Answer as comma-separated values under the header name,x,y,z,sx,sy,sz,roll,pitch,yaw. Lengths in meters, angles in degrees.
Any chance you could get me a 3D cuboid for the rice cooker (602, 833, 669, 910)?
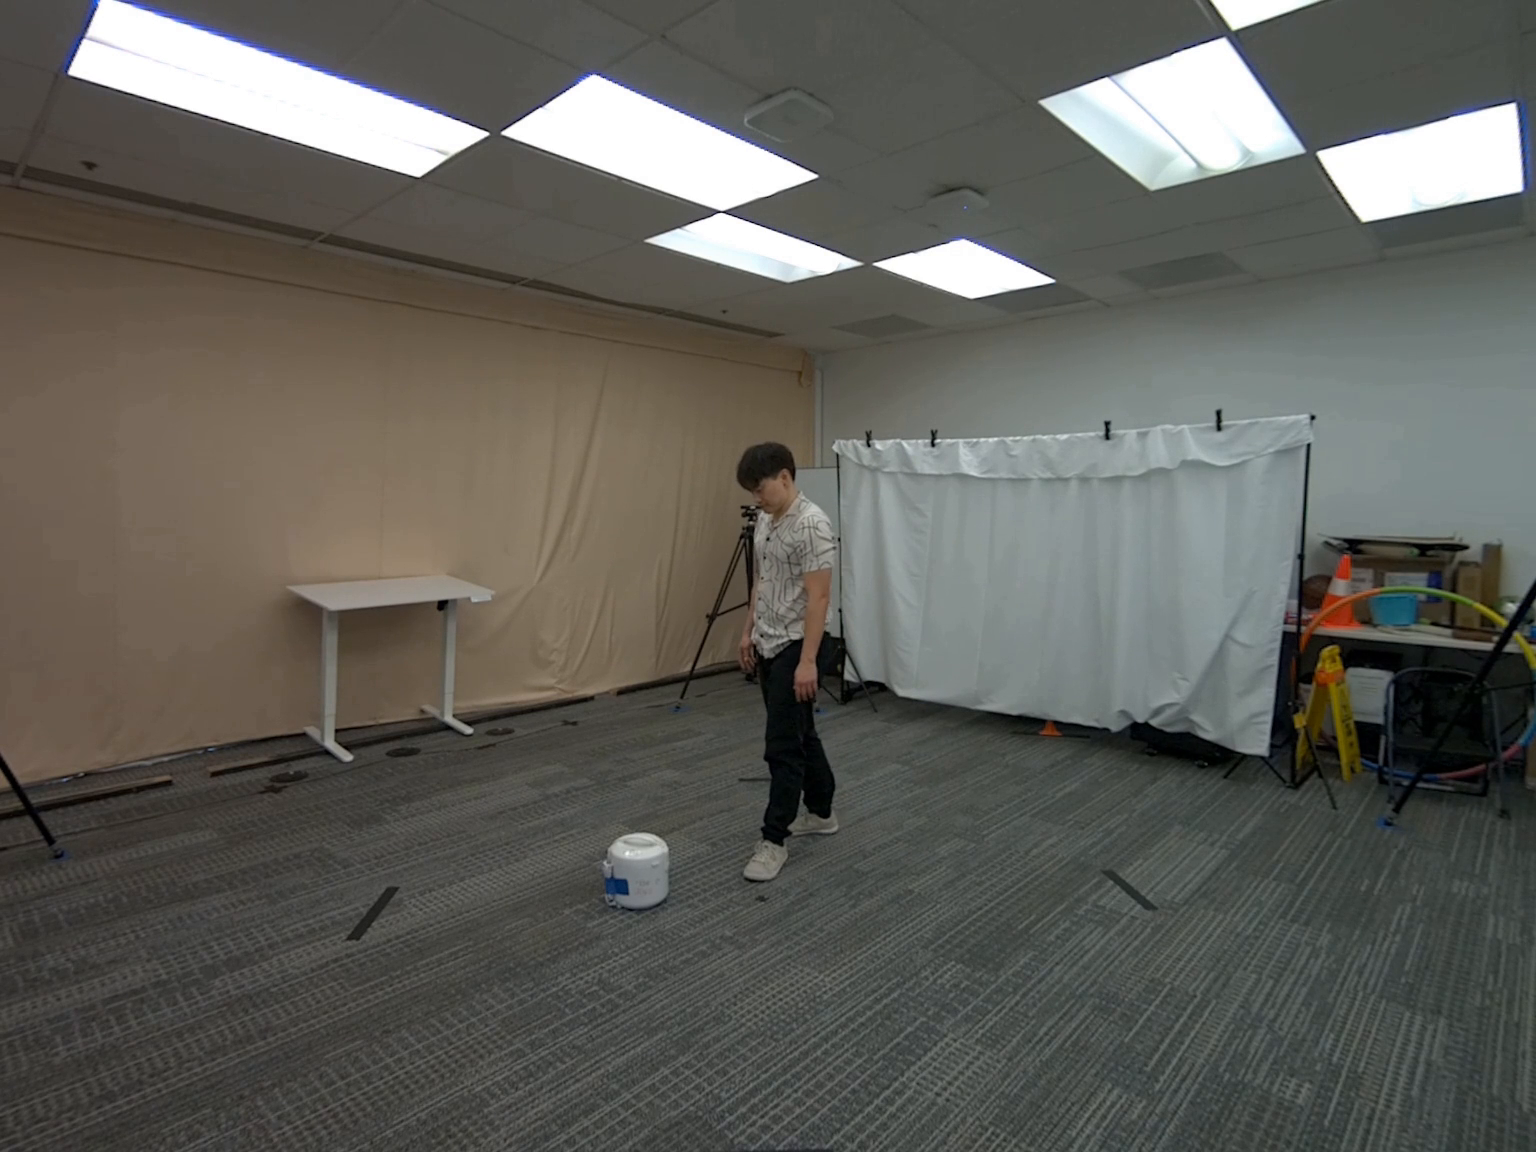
name,x,y,z,sx,sy,sz,roll,pitch,yaw
rice cooker,-0.456,1.029,2.983,0.223,0.232,0.215,1,4,11
